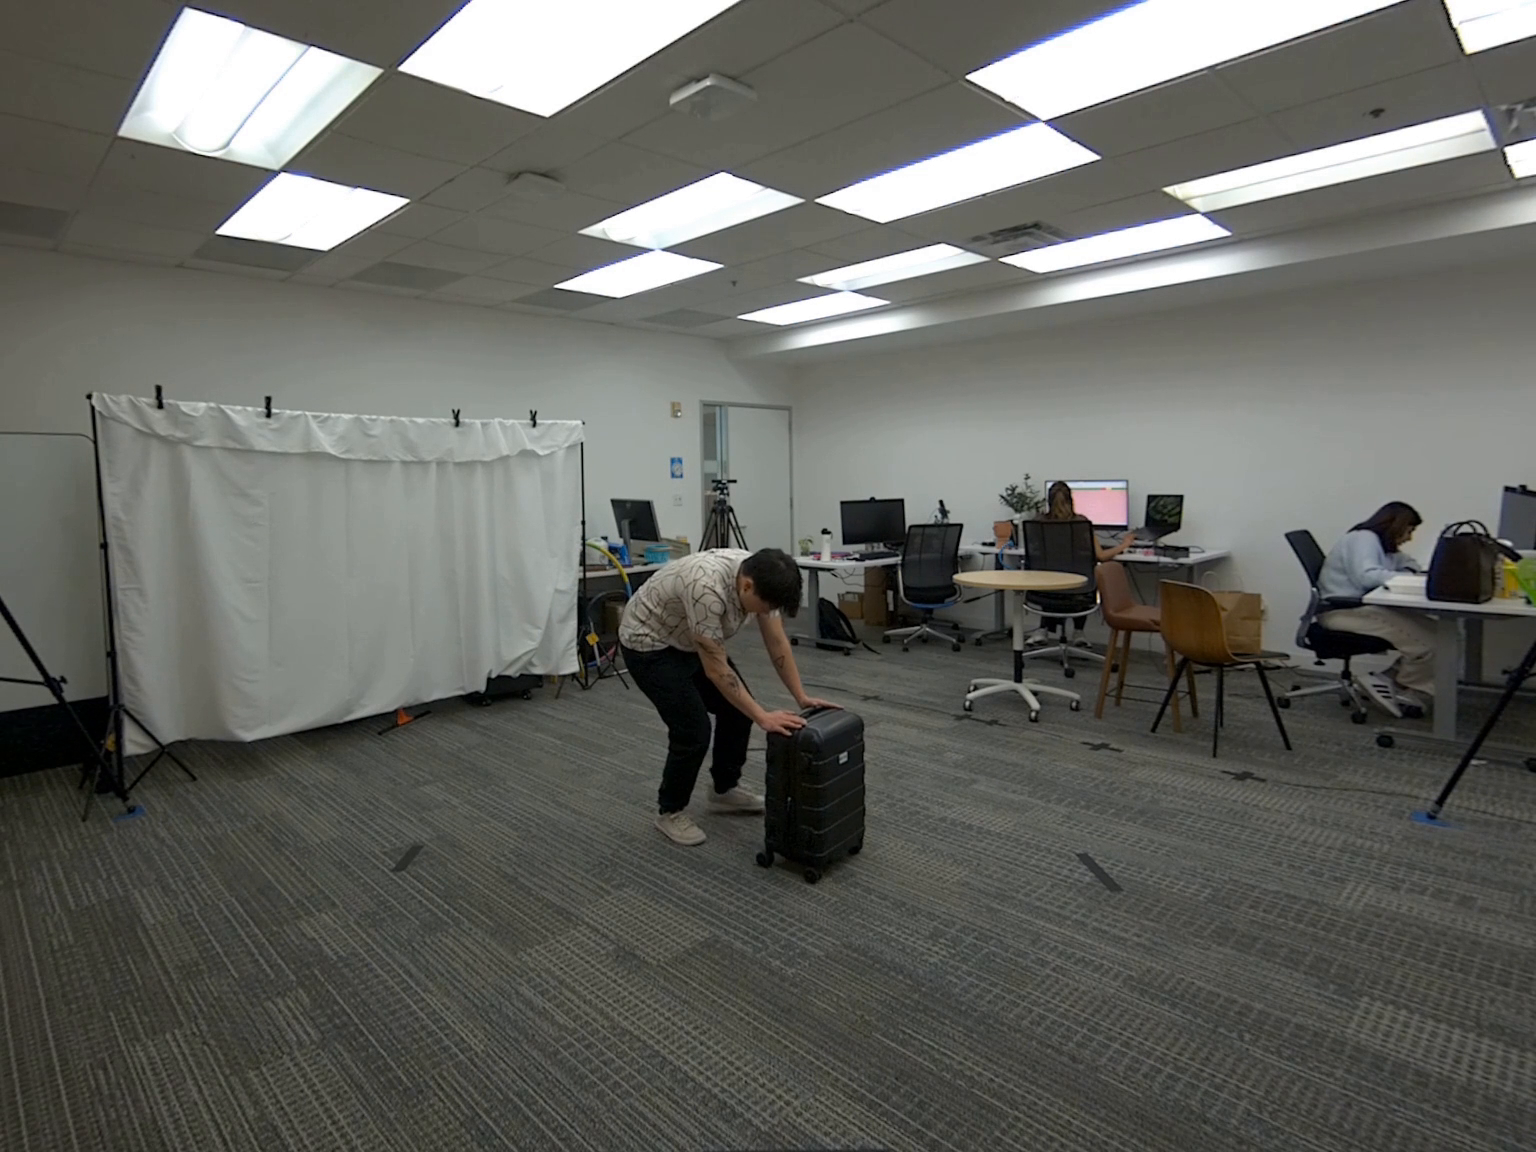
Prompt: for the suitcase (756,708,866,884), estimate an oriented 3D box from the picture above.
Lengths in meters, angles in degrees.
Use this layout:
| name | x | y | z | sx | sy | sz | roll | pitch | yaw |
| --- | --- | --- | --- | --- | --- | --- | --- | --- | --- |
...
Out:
| name | x | y | z | sx | sy | sz | roll | pitch | yaw |
| --- | --- | --- | --- | --- | --- | --- | --- | --- | --- |
| suitcase | 0.178 | 0.766 | 3.114 | 0.256 | 0.547 | 0.366 | 4 | 7 | 37 |
